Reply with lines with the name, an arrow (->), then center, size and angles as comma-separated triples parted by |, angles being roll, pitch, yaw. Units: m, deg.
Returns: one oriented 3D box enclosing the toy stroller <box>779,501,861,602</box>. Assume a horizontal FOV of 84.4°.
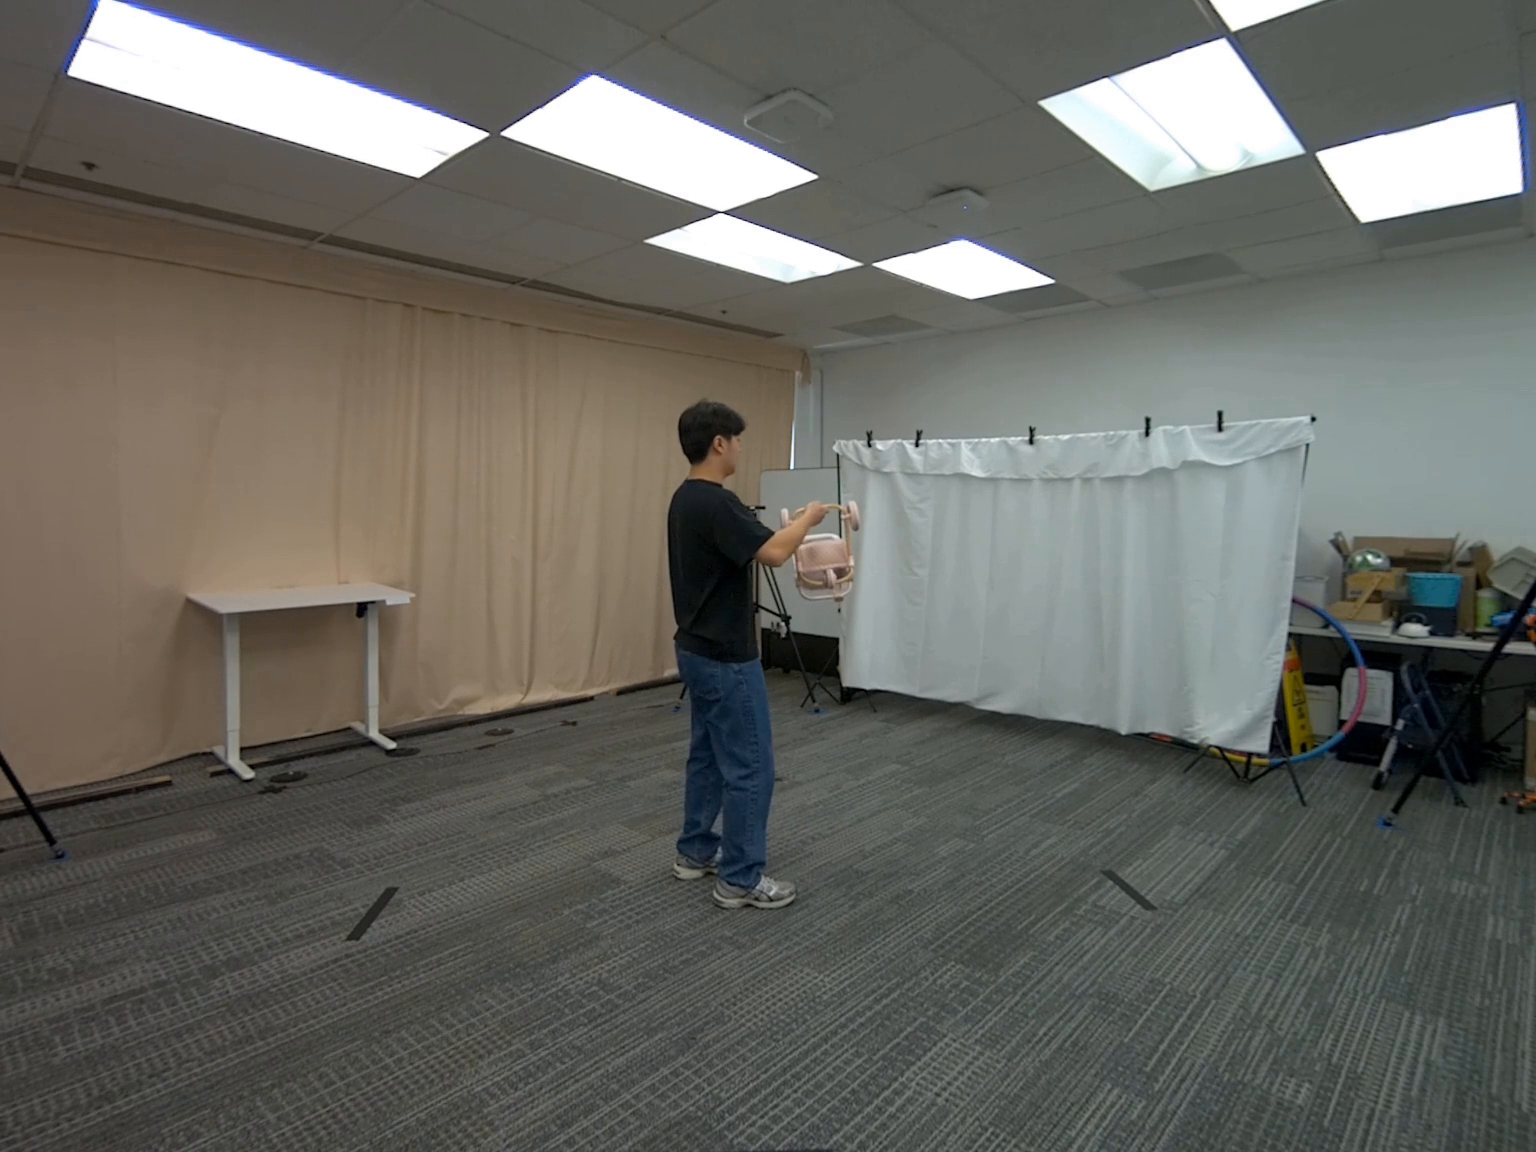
toy stroller -> 0.204, -0.062, 3.132 | 0.281, 0.346, 0.529 | -11, -14, -3
